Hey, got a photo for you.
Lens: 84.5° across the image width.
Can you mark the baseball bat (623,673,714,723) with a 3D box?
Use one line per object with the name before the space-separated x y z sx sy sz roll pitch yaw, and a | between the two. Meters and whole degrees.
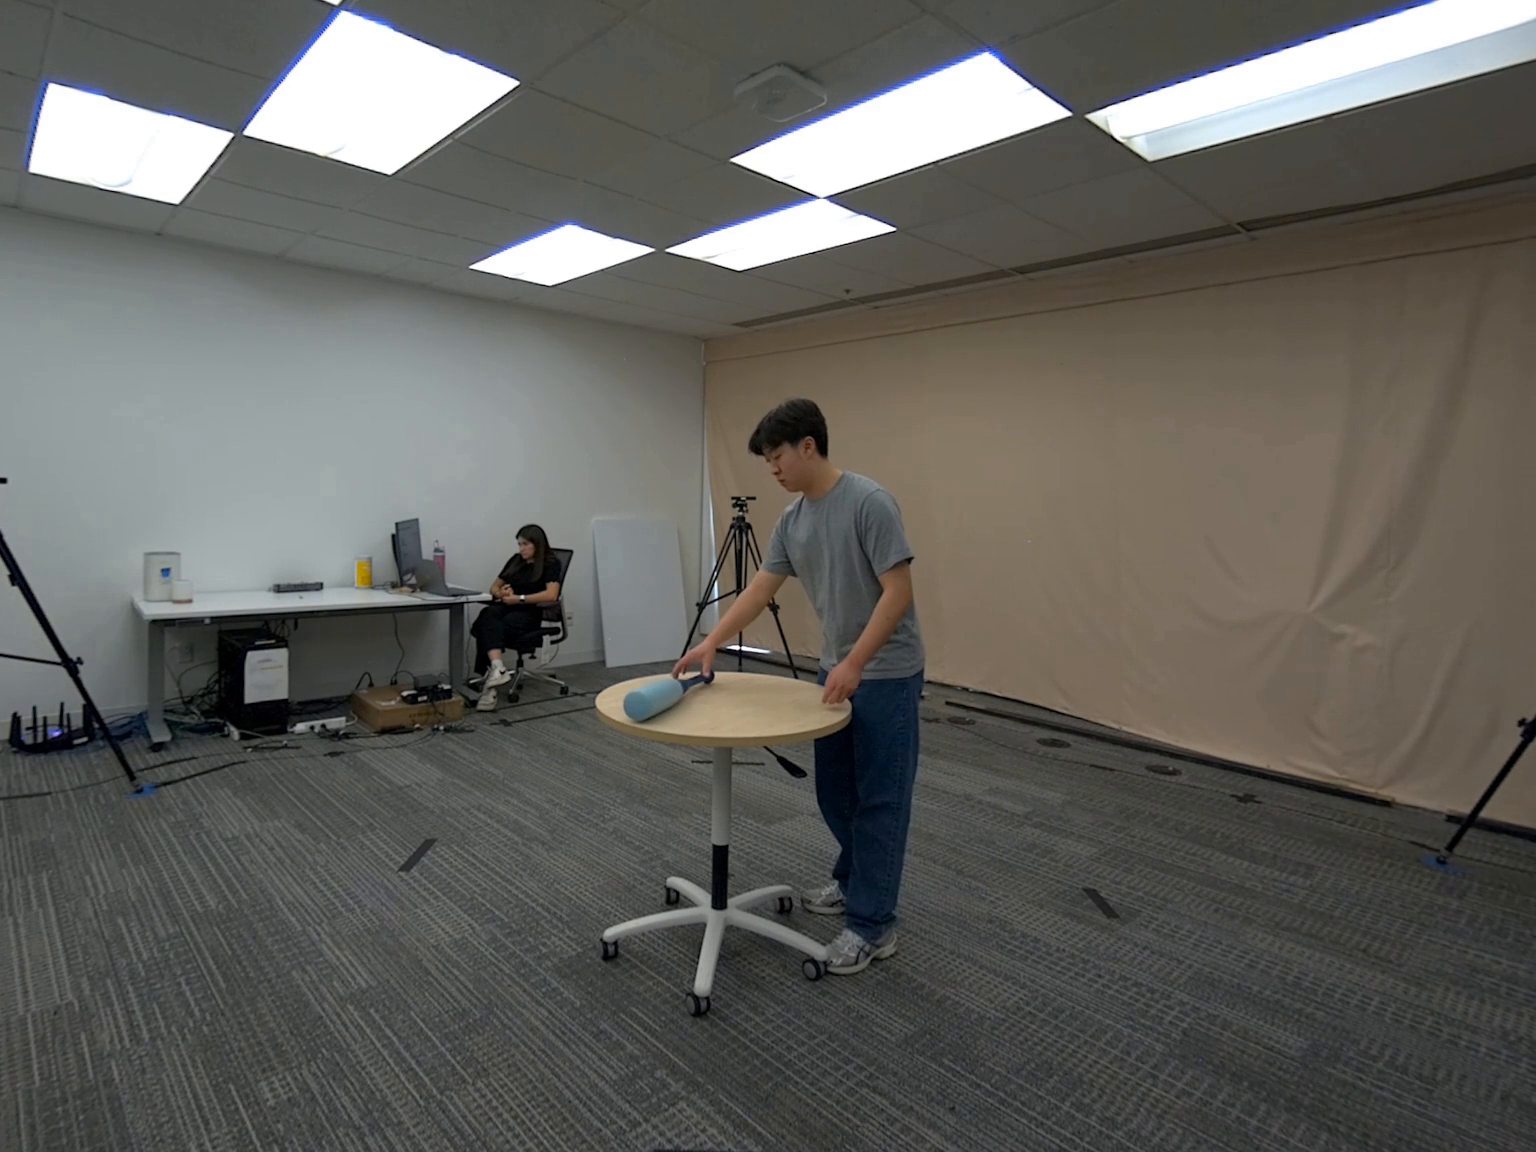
baseball bat | -0.273 0.344 2.490 0.090 0.089 0.535 3 3 17
